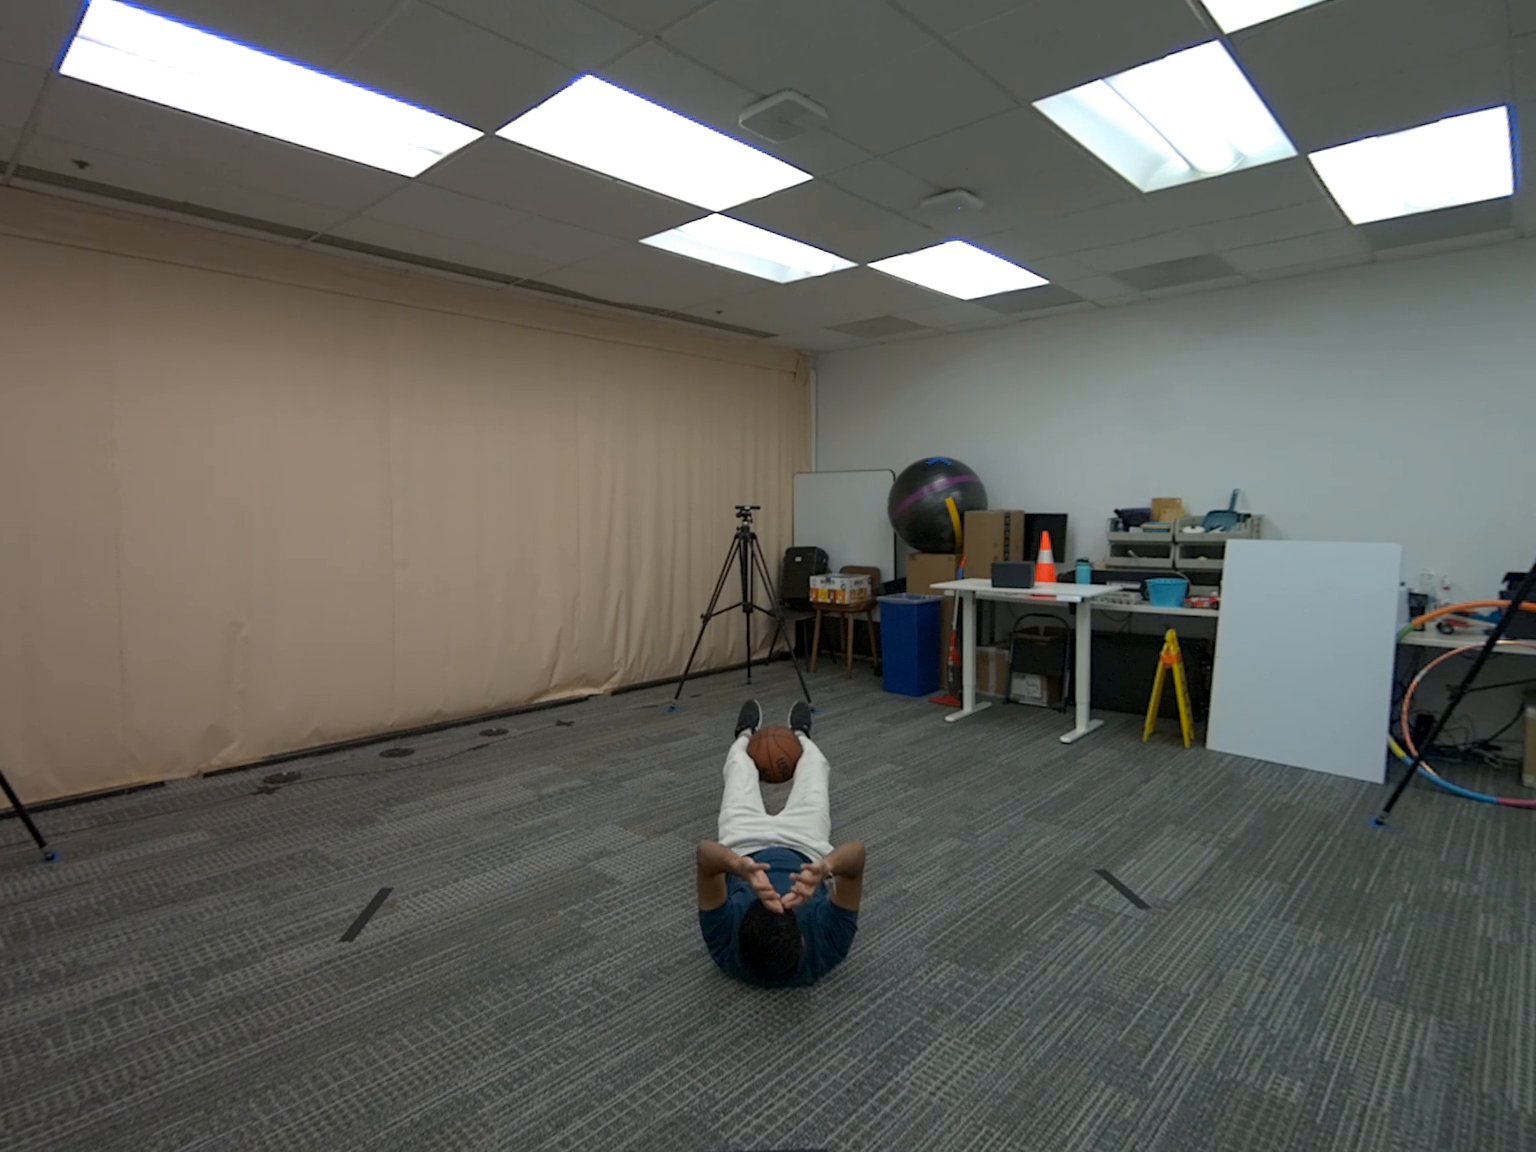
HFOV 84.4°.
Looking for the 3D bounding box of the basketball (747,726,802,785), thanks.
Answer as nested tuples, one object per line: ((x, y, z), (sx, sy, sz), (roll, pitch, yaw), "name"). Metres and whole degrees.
((0.027, 0.736, 3.487), (0.236, 0.235, 0.237), (0, 4, -2), "basketball")
